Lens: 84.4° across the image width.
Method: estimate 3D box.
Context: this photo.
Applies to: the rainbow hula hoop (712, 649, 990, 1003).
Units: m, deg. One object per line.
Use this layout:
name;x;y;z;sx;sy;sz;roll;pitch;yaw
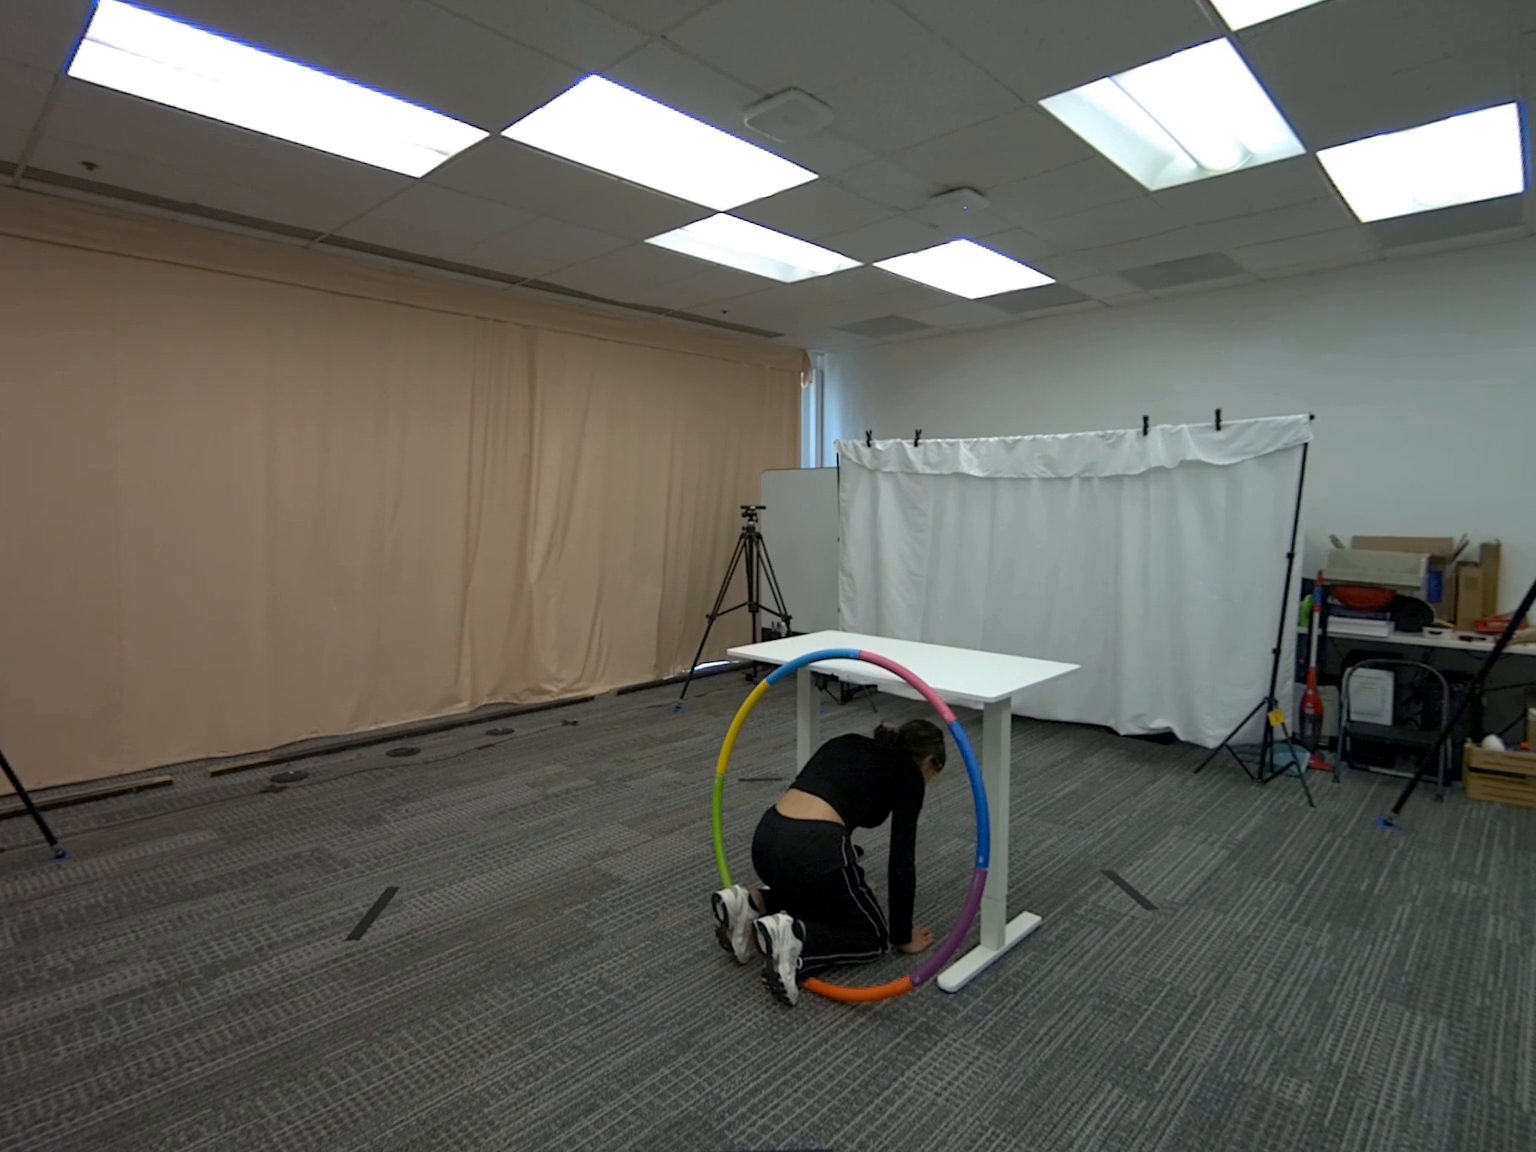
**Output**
rainbow hula hoop;0.196;0.713;2.496;1.011;0.982;0.034;4;-10;43
